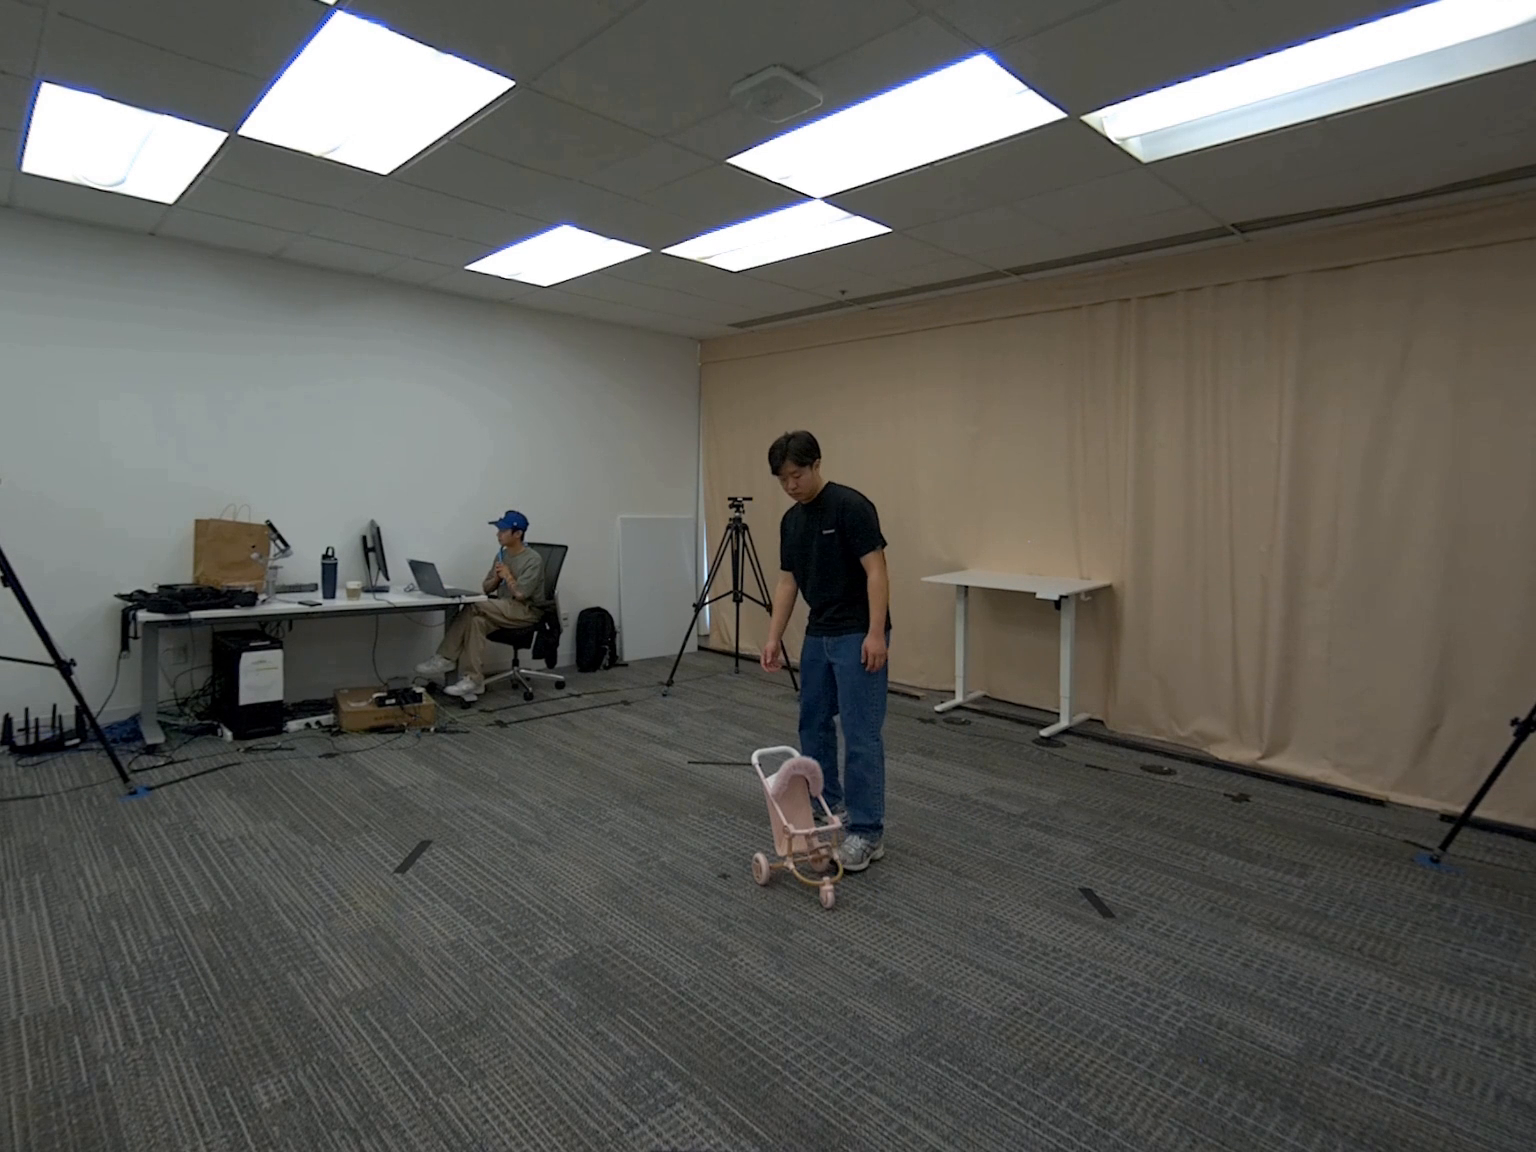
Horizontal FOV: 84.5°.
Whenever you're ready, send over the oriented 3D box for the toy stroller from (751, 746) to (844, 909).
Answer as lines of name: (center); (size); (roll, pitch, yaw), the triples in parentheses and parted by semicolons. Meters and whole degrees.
toy stroller: (0.108, 0.892, 3.029); (0.276, 0.539, 0.344); (0, -11, -24)
